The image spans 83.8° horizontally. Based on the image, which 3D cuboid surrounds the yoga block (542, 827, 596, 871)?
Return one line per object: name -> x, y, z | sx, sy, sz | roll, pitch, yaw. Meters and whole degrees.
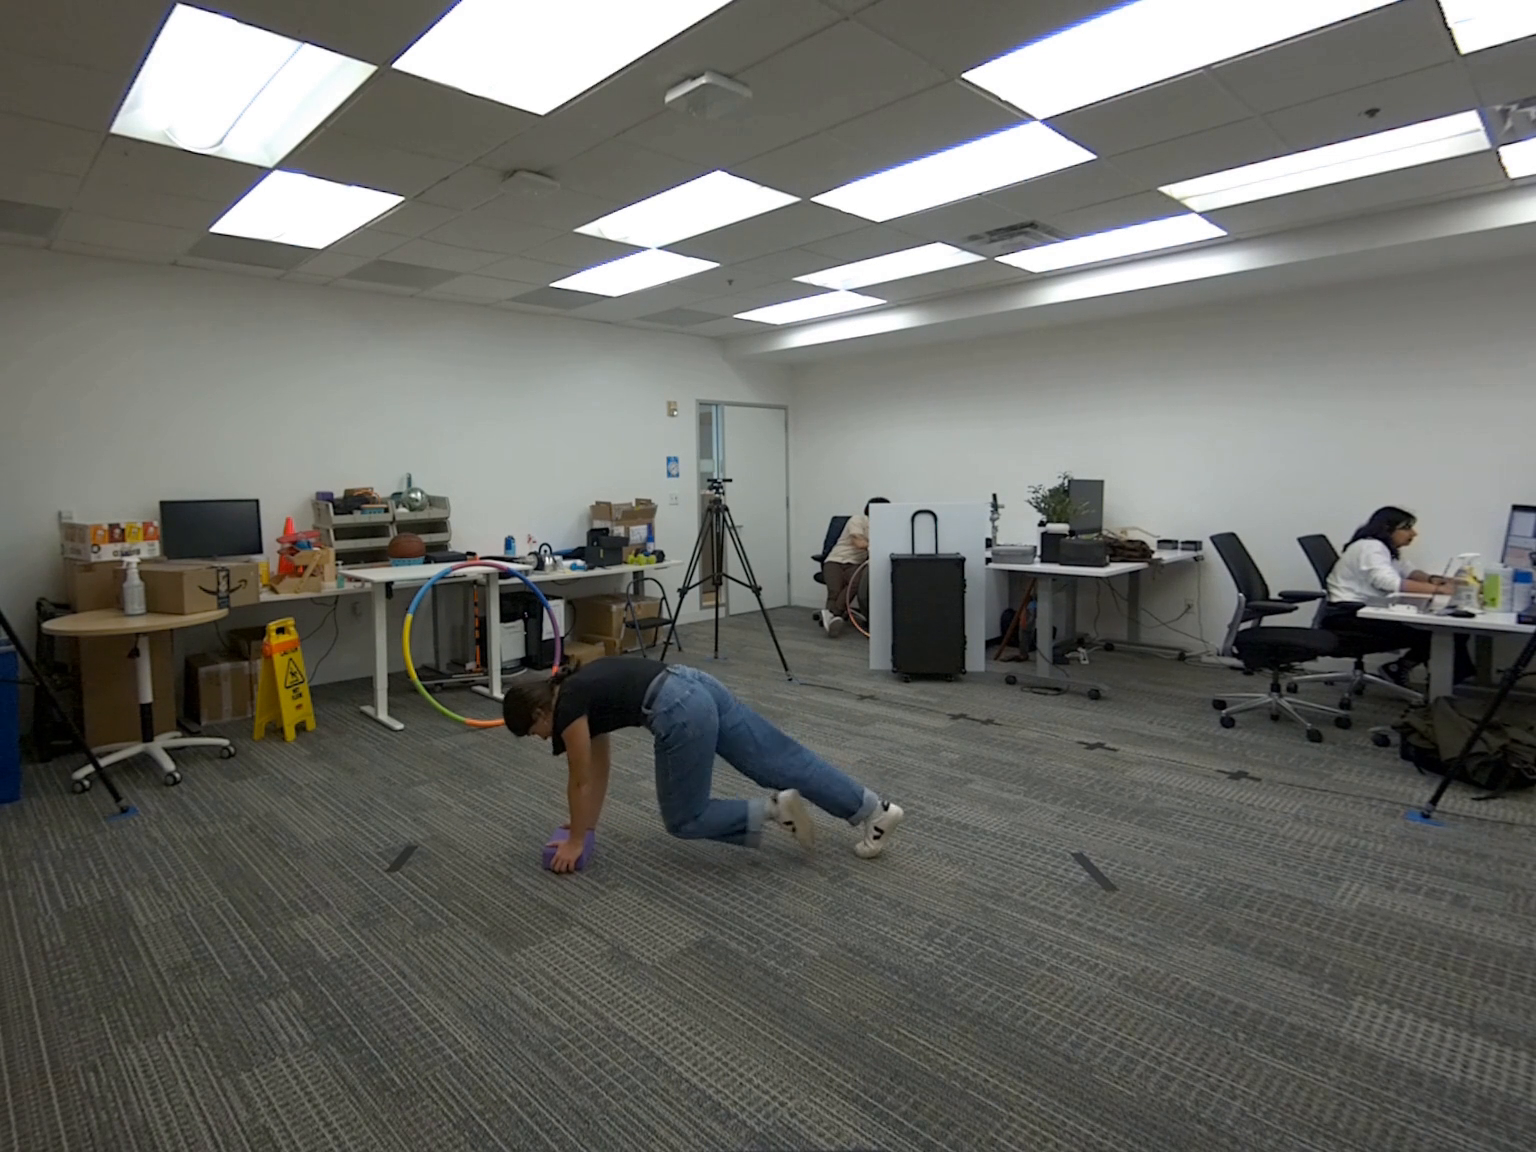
yoga block -> -0.742, 1.013, 3.198 | 0.149, 0.076, 0.230 | 0, 7, 0
